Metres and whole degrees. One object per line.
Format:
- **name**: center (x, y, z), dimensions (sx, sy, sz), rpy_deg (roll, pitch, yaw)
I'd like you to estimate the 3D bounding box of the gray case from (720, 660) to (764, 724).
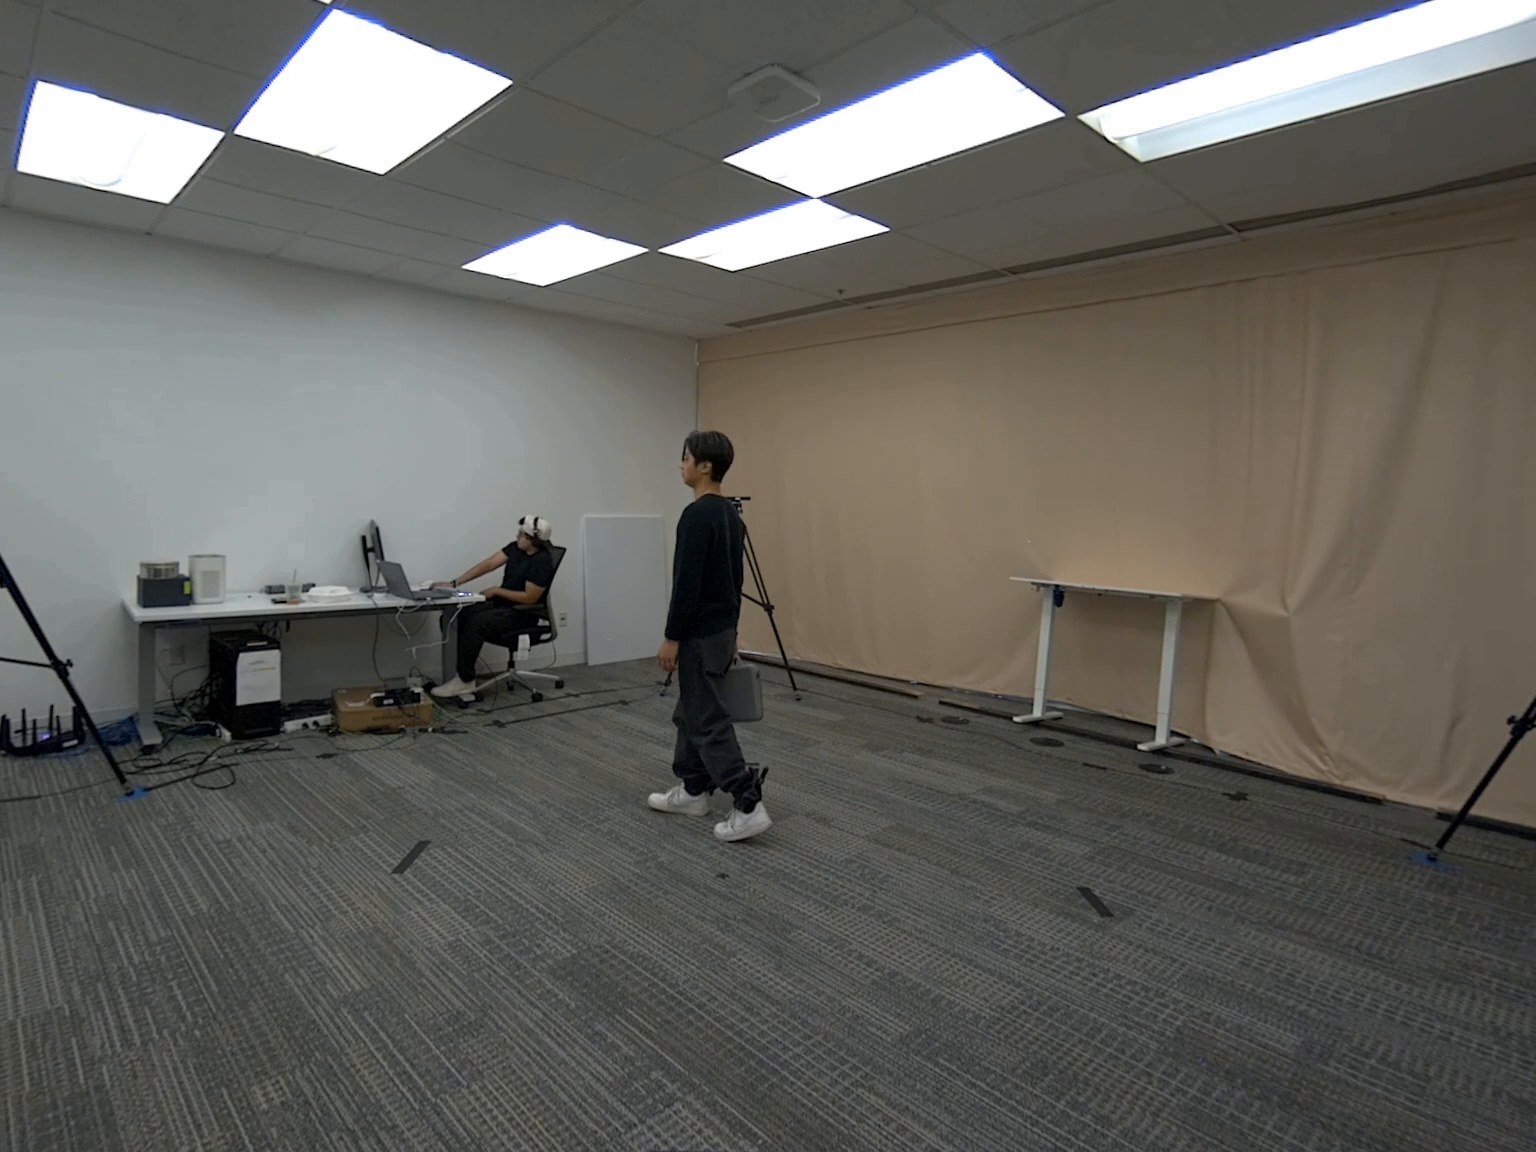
- **gray case**: center (-0.168, 0.528, 3.798), dimensions (0.260, 0.262, 0.103), rpy_deg (-6, -6, 16)
